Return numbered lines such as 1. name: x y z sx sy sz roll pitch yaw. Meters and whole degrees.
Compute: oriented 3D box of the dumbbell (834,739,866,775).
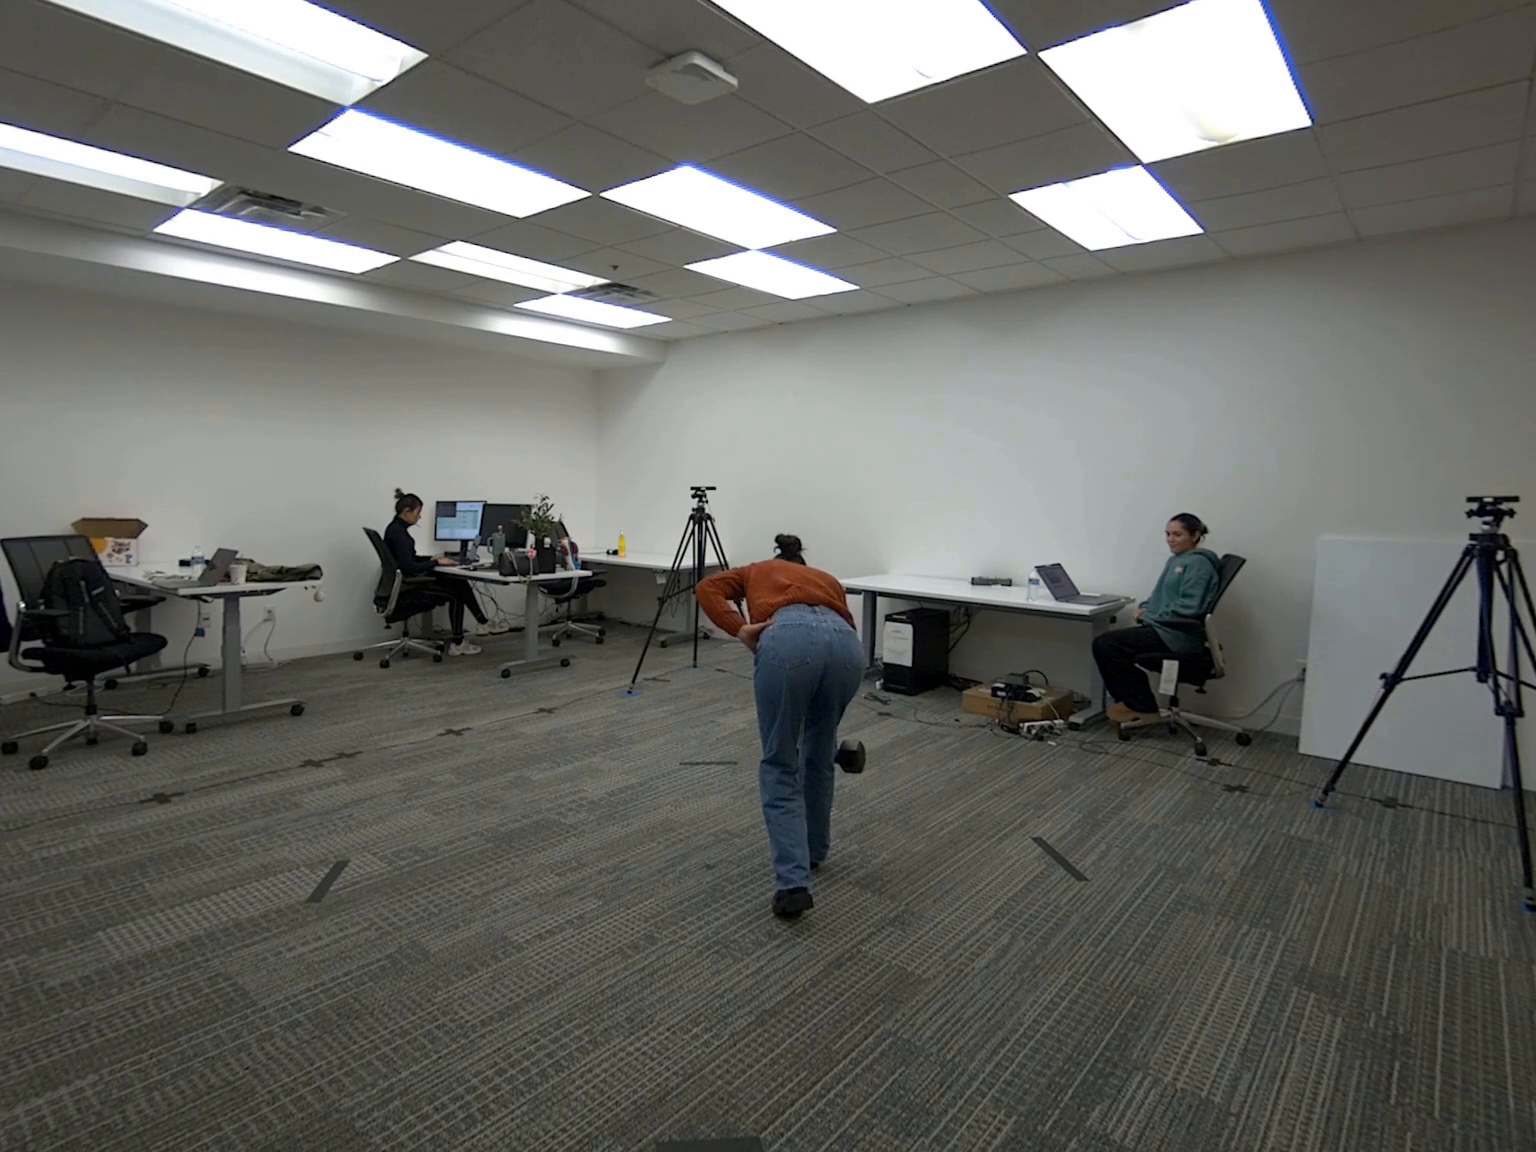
1. dumbbell: 0.212 0.679 3.233 0.300 0.124 0.105 -3 -9 22
